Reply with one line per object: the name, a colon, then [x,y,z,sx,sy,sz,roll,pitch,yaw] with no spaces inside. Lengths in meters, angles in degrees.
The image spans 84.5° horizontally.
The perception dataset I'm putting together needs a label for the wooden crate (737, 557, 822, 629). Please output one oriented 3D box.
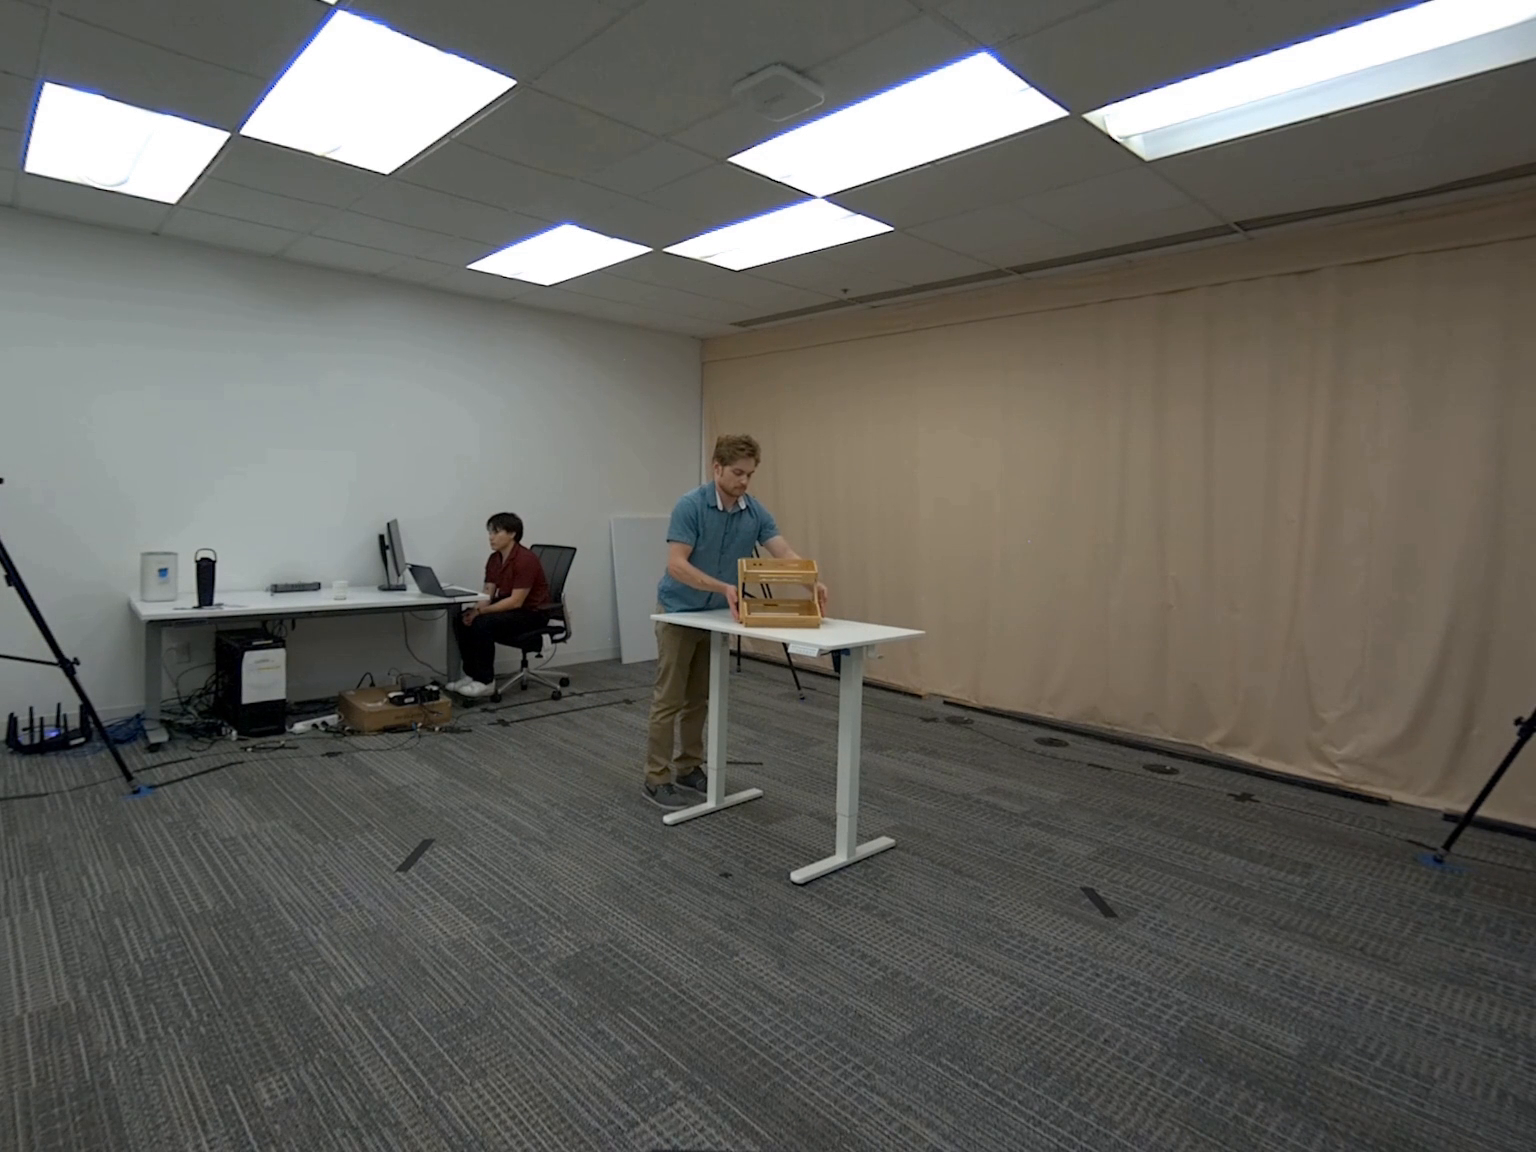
wooden crate: [0.045,0.066,3.453,0.323,0.273,0.304,1,3,-6]
